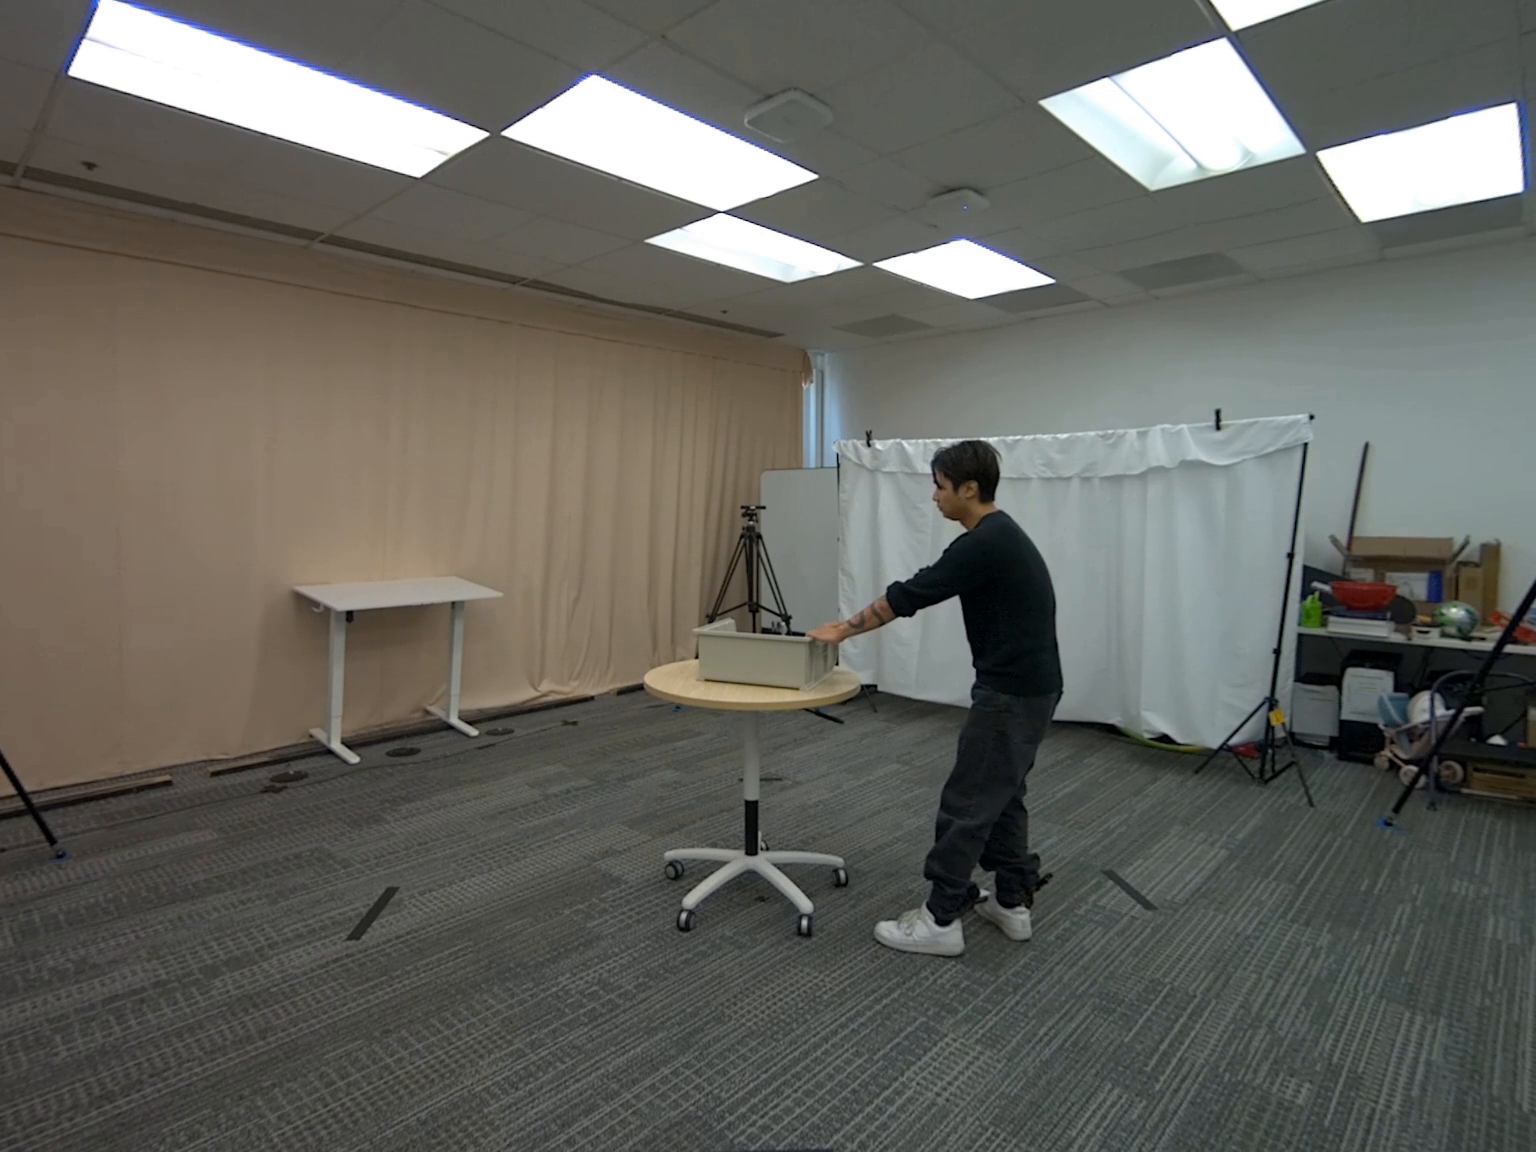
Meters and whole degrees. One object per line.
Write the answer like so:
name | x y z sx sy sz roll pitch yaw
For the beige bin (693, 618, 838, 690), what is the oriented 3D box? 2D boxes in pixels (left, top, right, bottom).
beige bin | 0.005 0.269 3.004 0.432 0.188 0.370 2 7 22
